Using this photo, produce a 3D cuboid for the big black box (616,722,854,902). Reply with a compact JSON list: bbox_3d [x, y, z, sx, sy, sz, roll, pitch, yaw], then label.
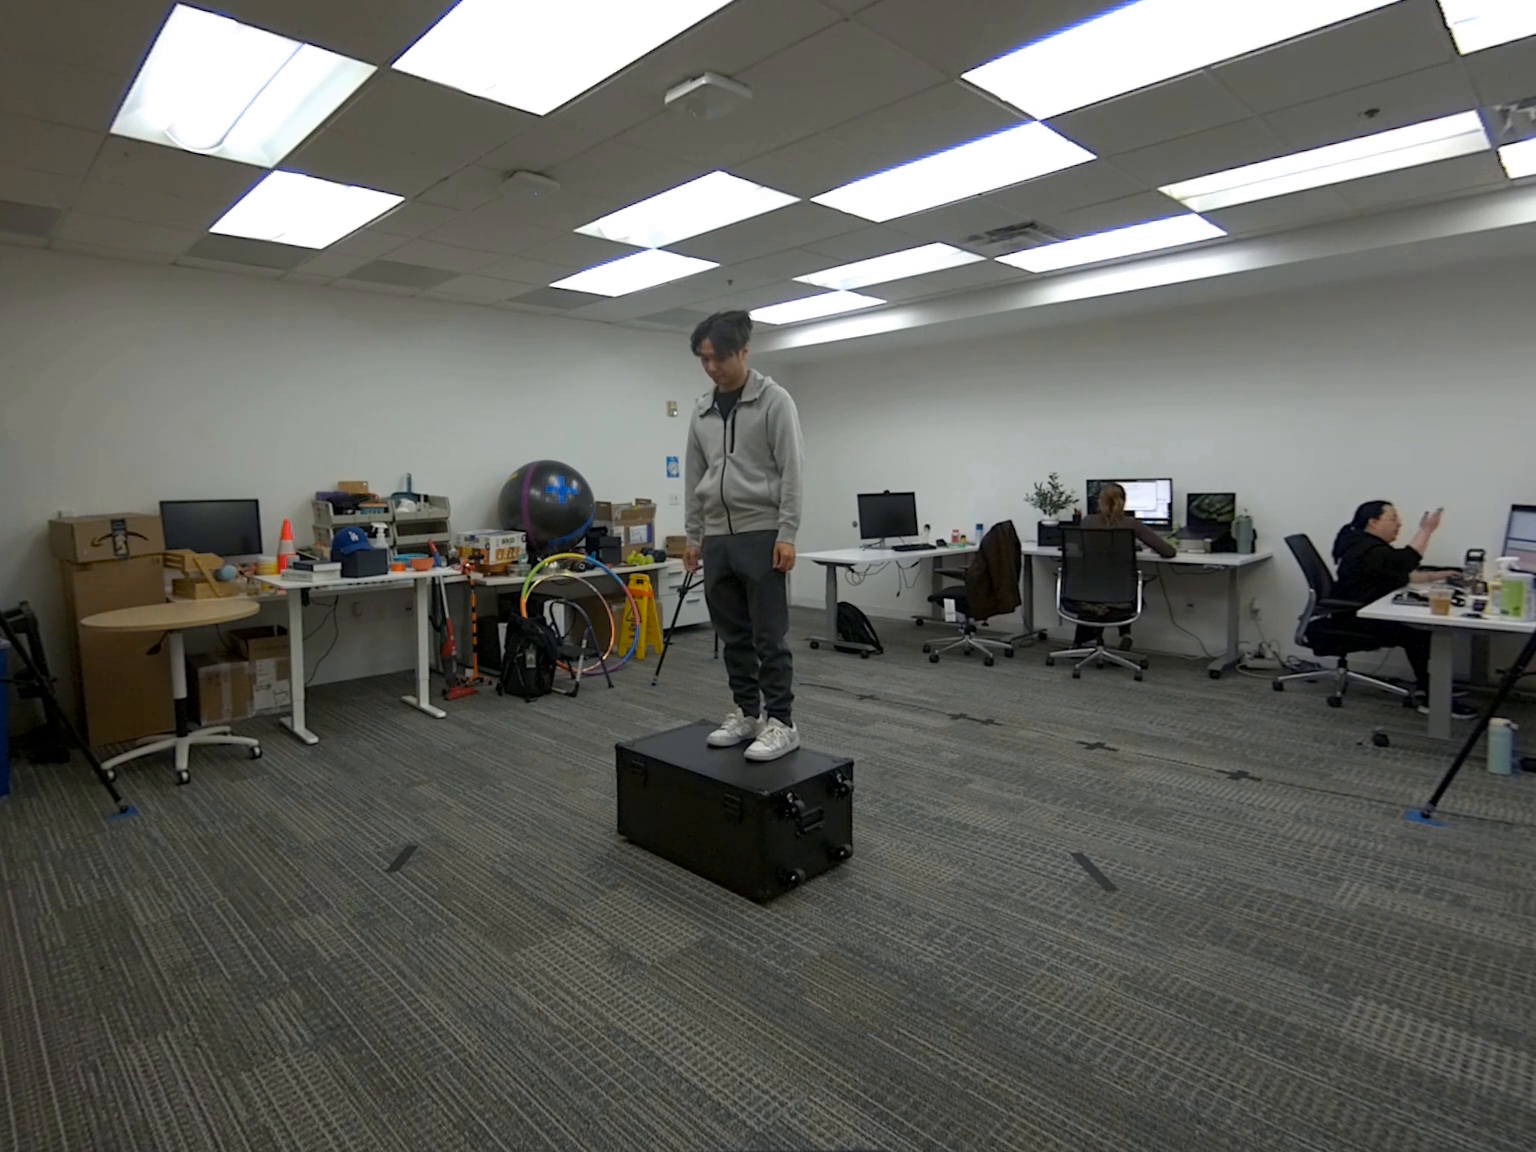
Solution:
[{"bbox_3d":[-0.116,0.846,3.187,0.888,0.395,0.507,4,7,44],"label":"big black box"}]
